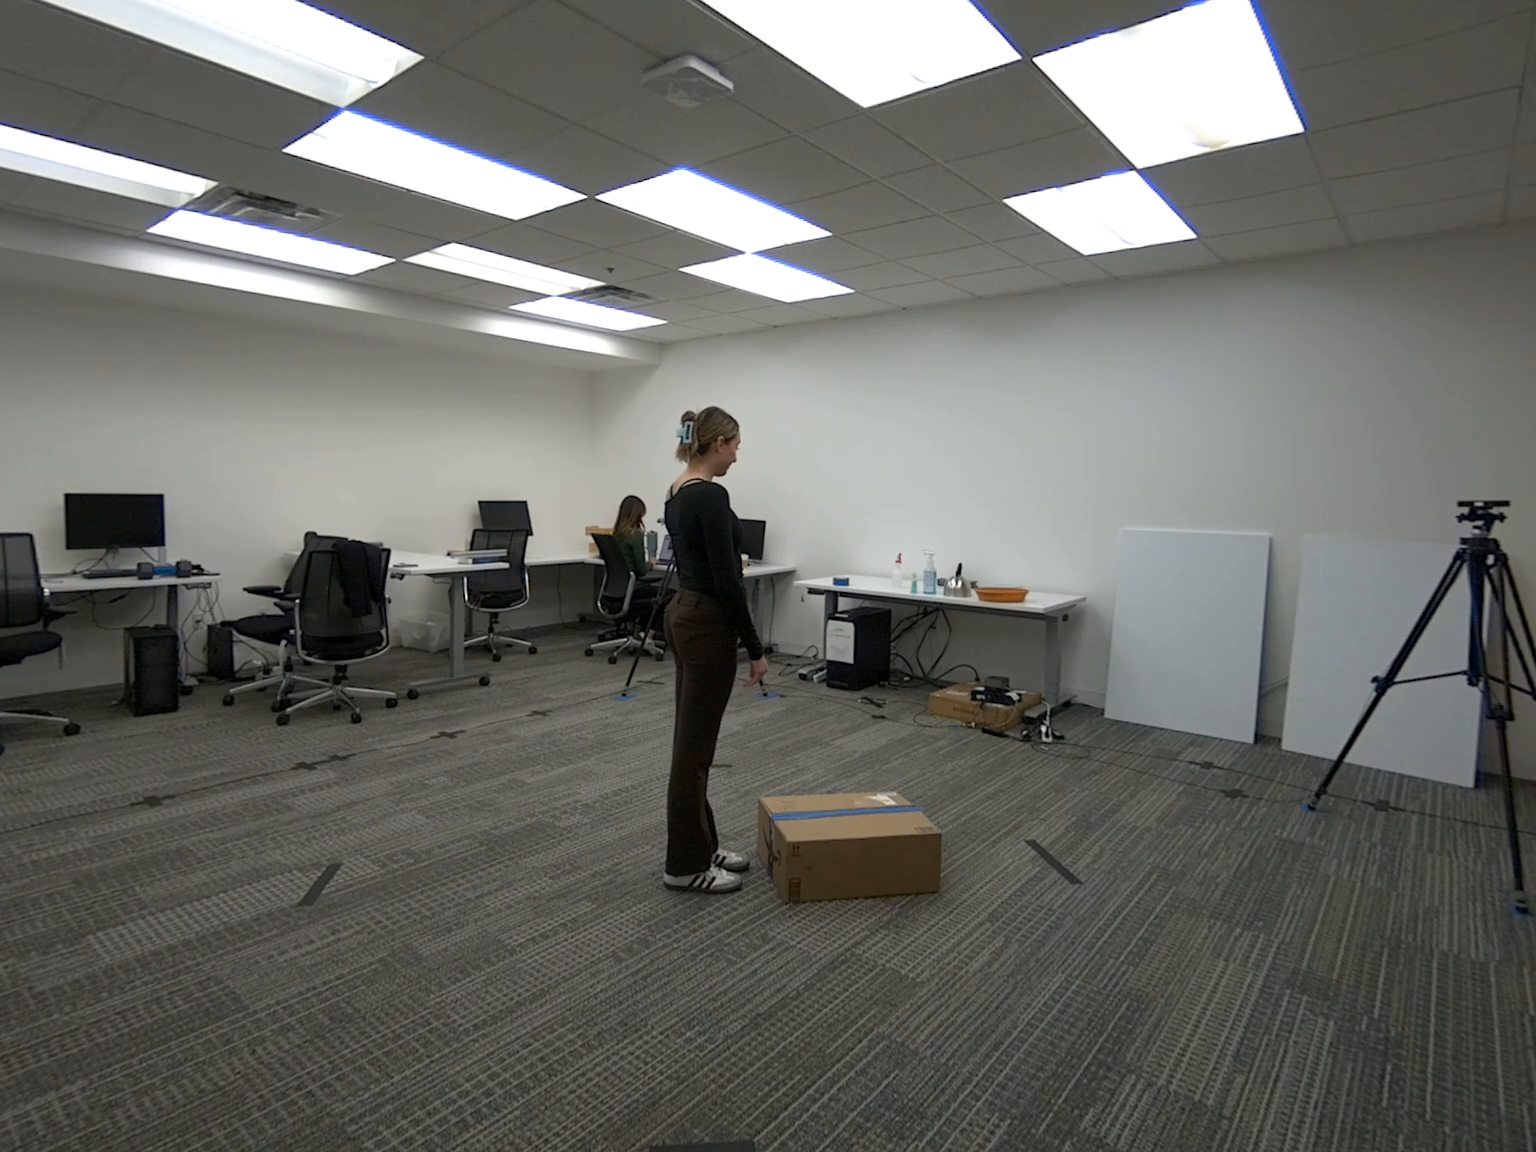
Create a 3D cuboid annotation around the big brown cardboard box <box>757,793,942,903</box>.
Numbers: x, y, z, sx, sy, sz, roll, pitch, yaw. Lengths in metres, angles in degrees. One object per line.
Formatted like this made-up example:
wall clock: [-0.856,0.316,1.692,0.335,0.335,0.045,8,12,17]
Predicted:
big brown cardboard box: [0.283,0.974,3.114,0.581,0.232,0.425,-1,5,-13]
